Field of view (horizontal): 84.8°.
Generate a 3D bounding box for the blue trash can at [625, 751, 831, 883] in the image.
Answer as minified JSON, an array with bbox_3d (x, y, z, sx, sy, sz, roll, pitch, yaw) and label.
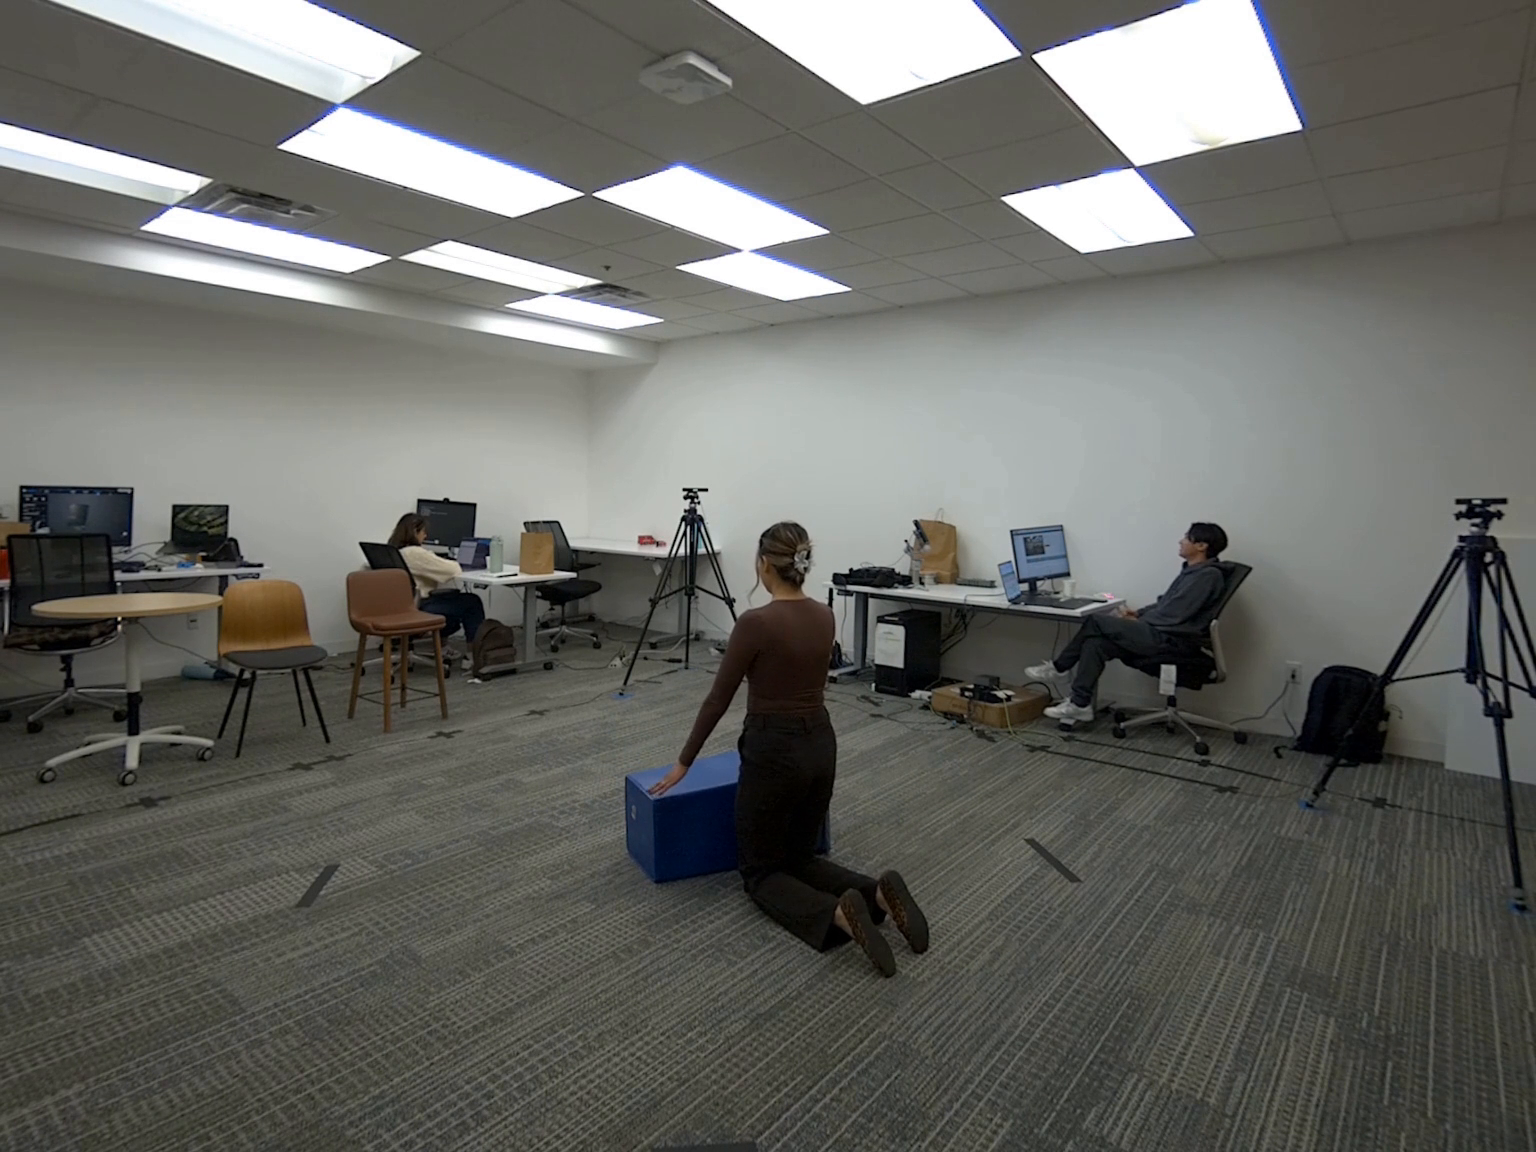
[{"bbox_3d":[-0.169,0.880,3.256,0.697,0.376,0.385,-3,6,-26],"label":"blue trash can"}]
